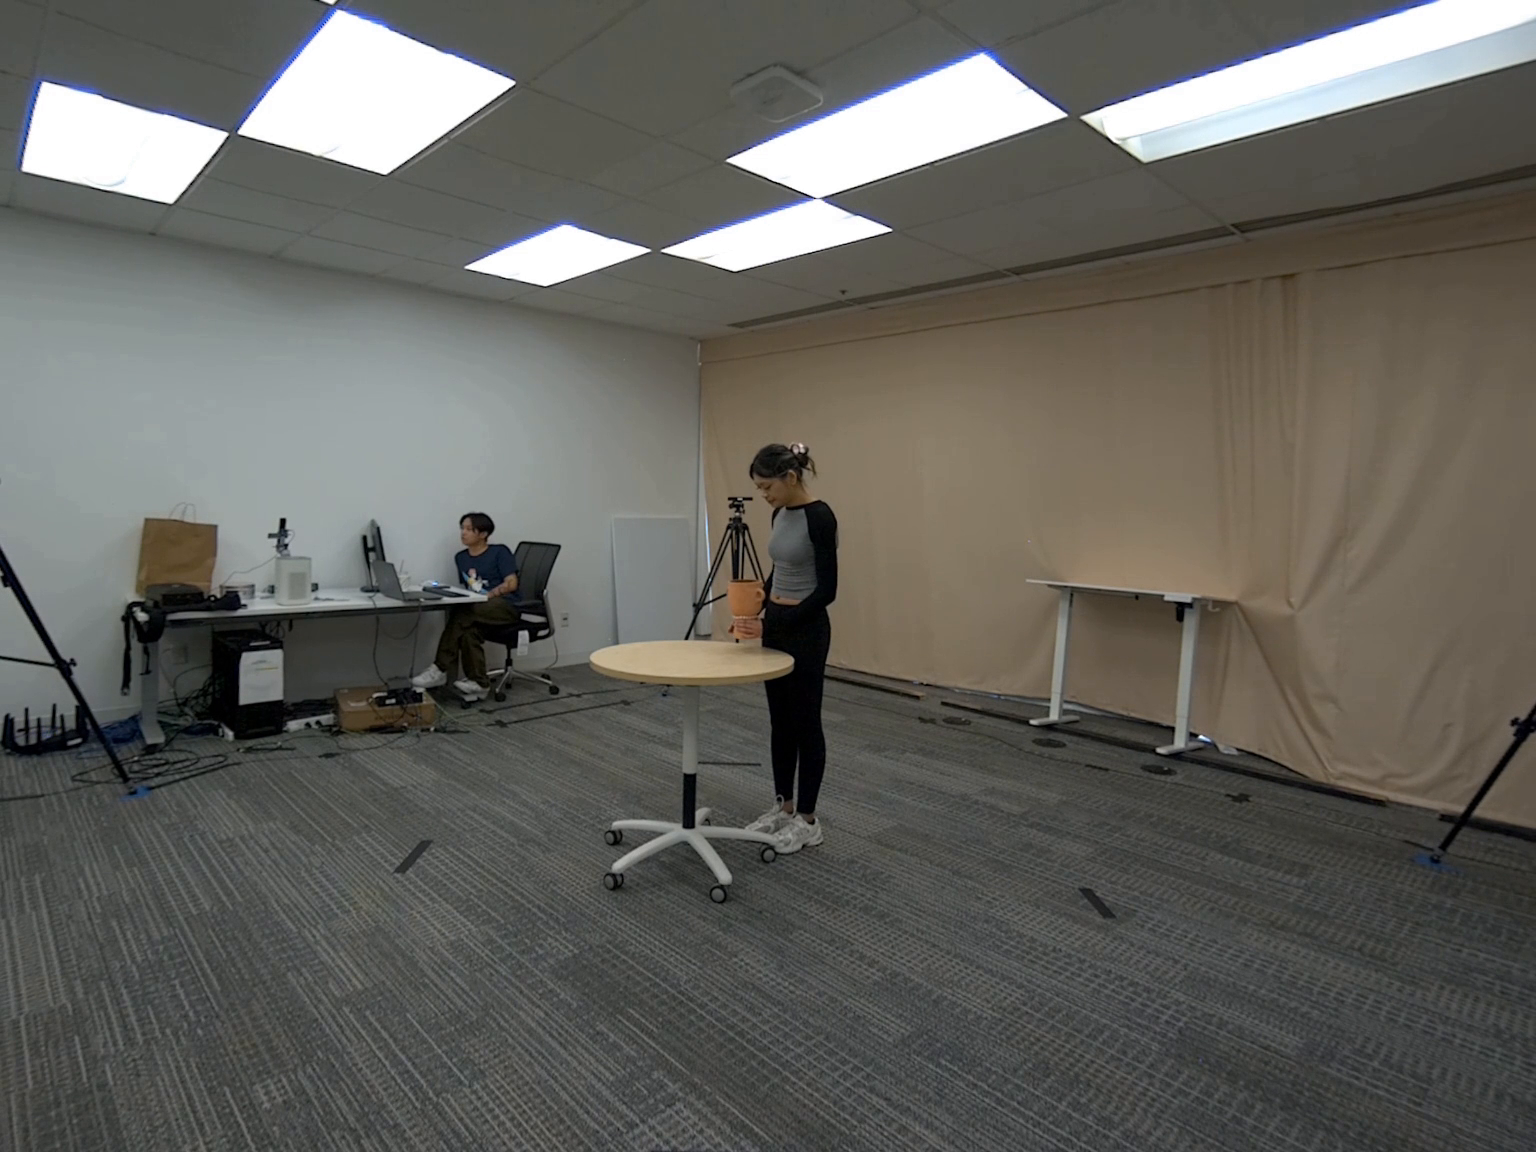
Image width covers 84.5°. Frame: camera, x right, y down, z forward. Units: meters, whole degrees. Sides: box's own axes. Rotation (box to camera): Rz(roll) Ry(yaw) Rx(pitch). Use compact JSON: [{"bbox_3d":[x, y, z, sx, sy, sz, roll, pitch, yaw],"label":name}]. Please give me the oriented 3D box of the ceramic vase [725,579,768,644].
[{"bbox_3d":[-0.082,0.133,3.276,0.134,0.219,0.160,-3,4,-10],"label":"ceramic vase"}]
